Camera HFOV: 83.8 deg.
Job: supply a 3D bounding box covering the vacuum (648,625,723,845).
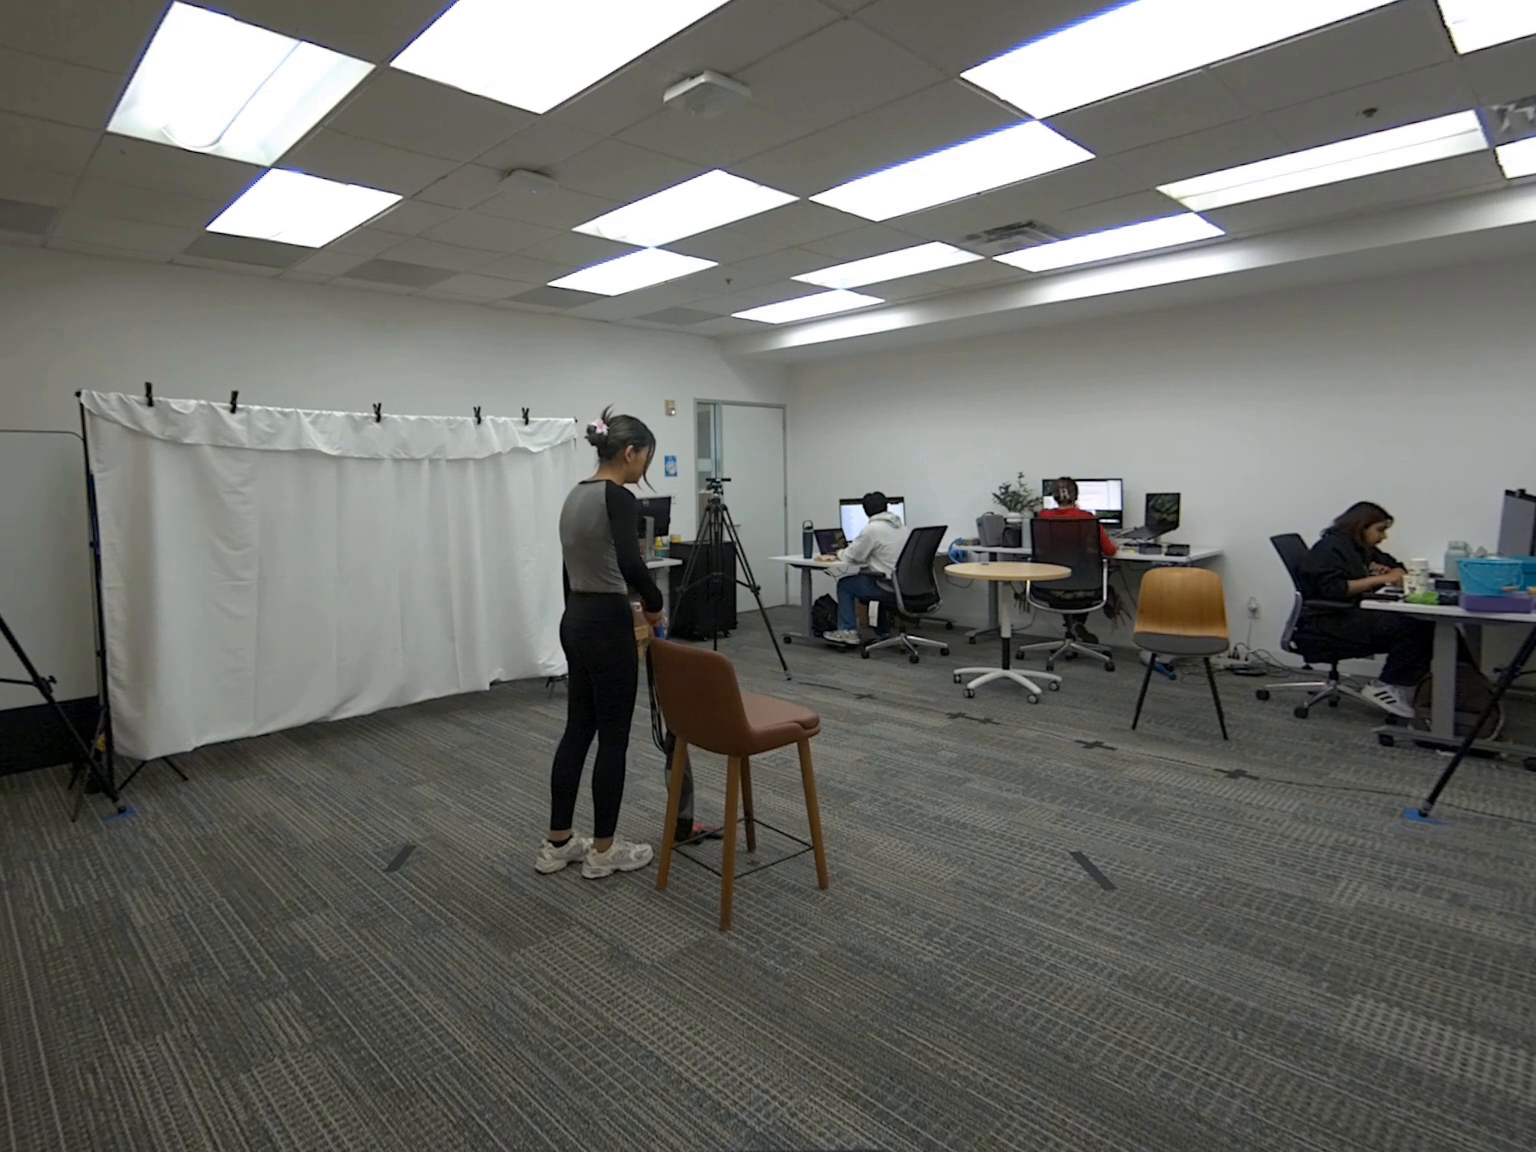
[{"bbox_3d":[-0.359,0.558,3.157,0.258,1.026,0.144,3,25,24],"label":"vacuum"}]
